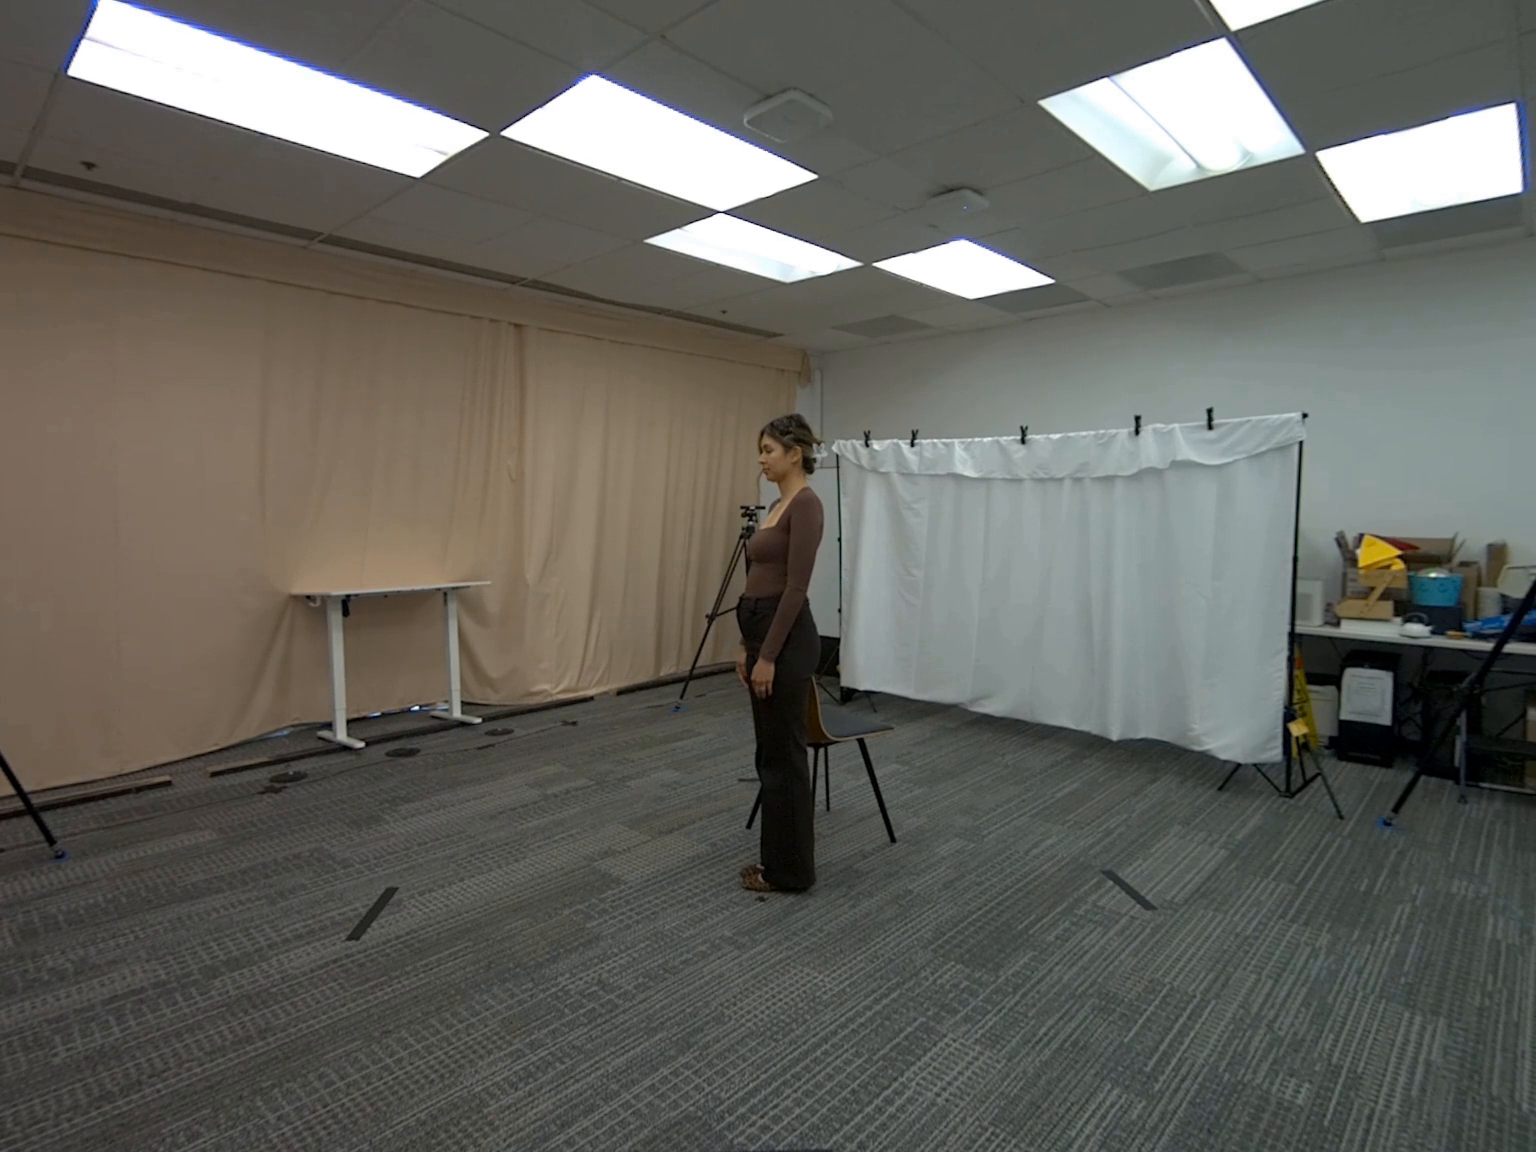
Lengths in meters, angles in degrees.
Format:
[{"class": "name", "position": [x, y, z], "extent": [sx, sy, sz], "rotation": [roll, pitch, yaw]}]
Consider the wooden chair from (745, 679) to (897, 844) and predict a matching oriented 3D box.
[{"class": "wooden chair", "position": [0.223, 0.673, 3.537], "extent": [0.509, 0.874, 0.492], "rotation": [-7, 6, -32]}]
